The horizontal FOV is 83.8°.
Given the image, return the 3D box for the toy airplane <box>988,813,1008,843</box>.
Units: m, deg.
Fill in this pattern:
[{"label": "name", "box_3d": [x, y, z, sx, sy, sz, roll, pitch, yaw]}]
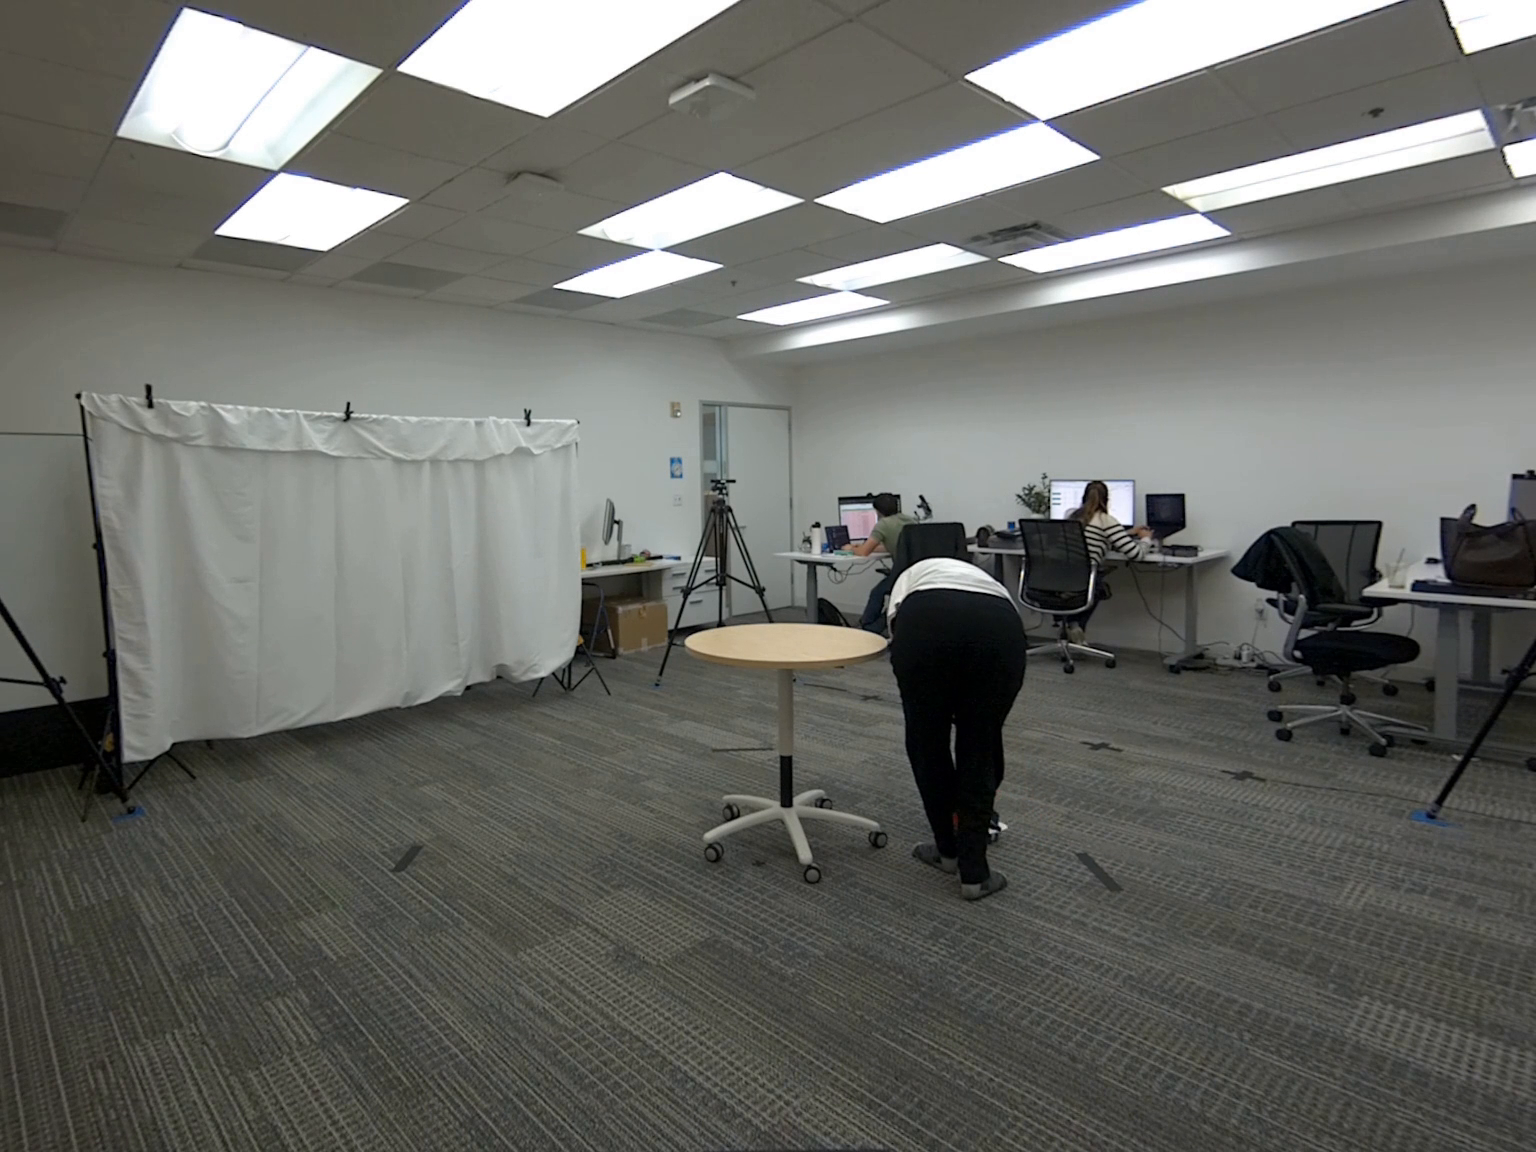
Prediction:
[{"label": "toy airplane", "box_3d": [0.830, 0.936, 3.347, 0.266, 0.156, 0.245, 3, 5, 34]}]
